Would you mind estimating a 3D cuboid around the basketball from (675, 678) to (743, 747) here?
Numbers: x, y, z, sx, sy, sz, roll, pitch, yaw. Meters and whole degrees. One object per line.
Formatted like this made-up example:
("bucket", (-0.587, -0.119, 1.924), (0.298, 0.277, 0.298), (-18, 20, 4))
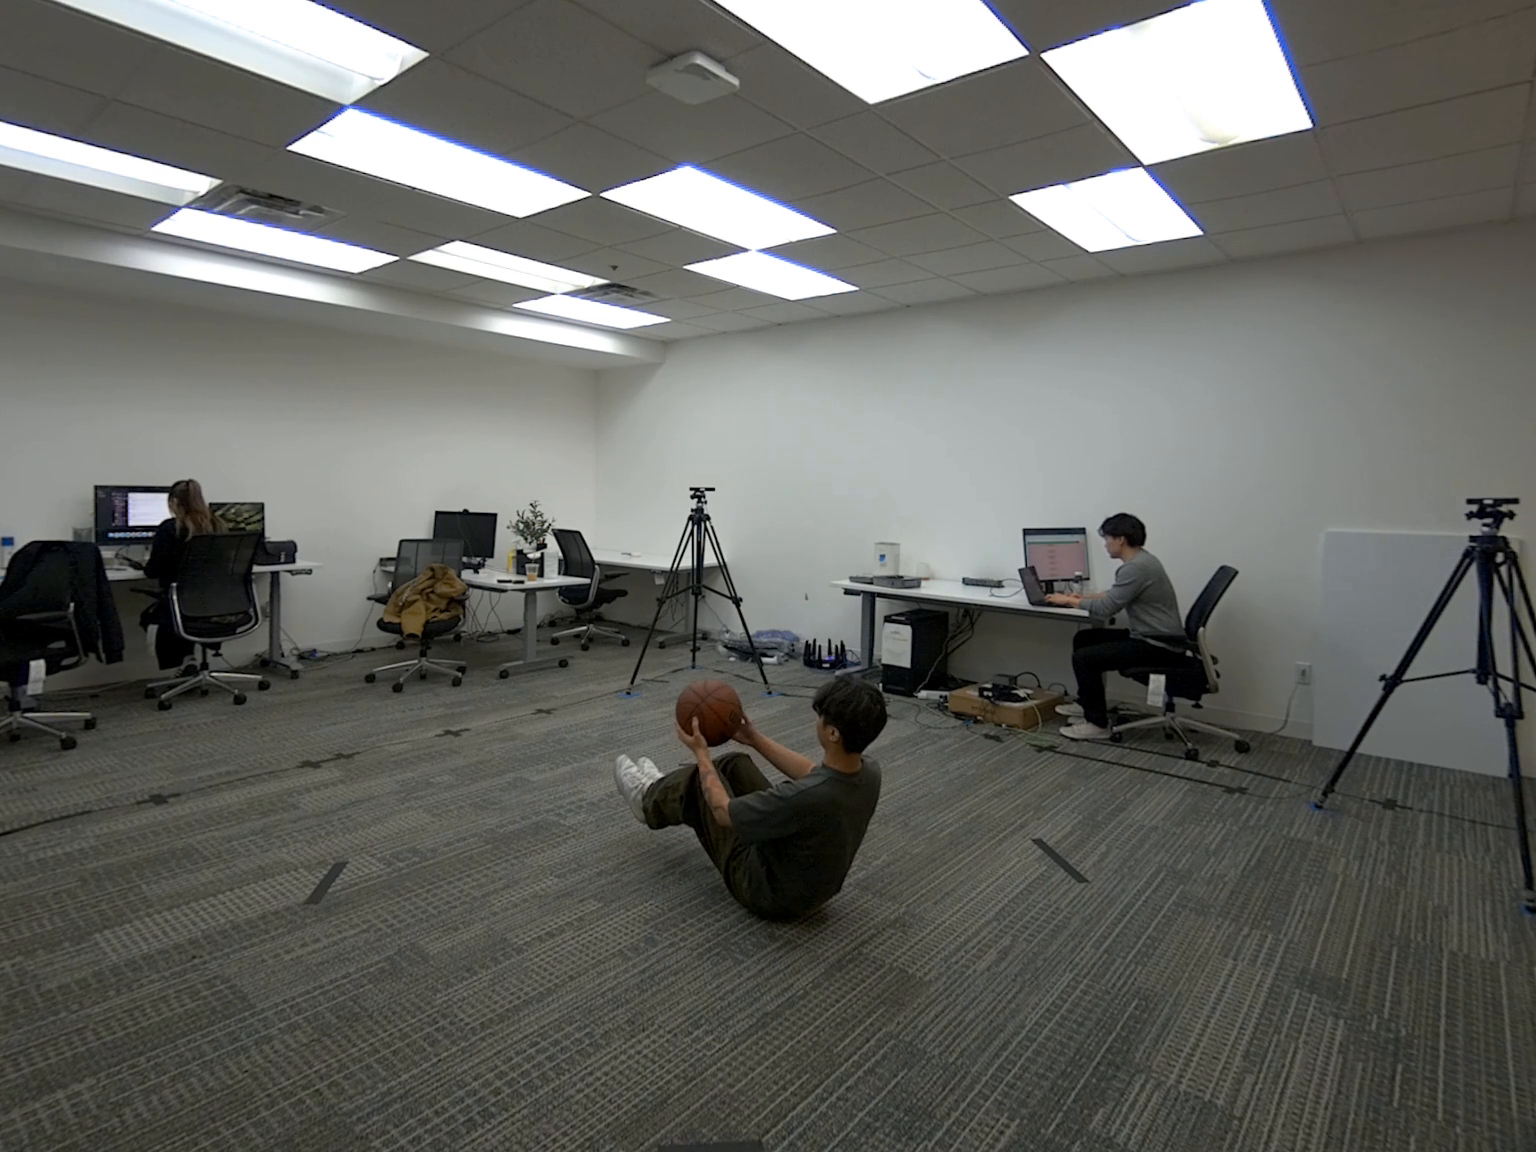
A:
("basketball", (-0.225, 0.490, 3.015), (0.235, 0.235, 0.237), (1, 4, -2))
